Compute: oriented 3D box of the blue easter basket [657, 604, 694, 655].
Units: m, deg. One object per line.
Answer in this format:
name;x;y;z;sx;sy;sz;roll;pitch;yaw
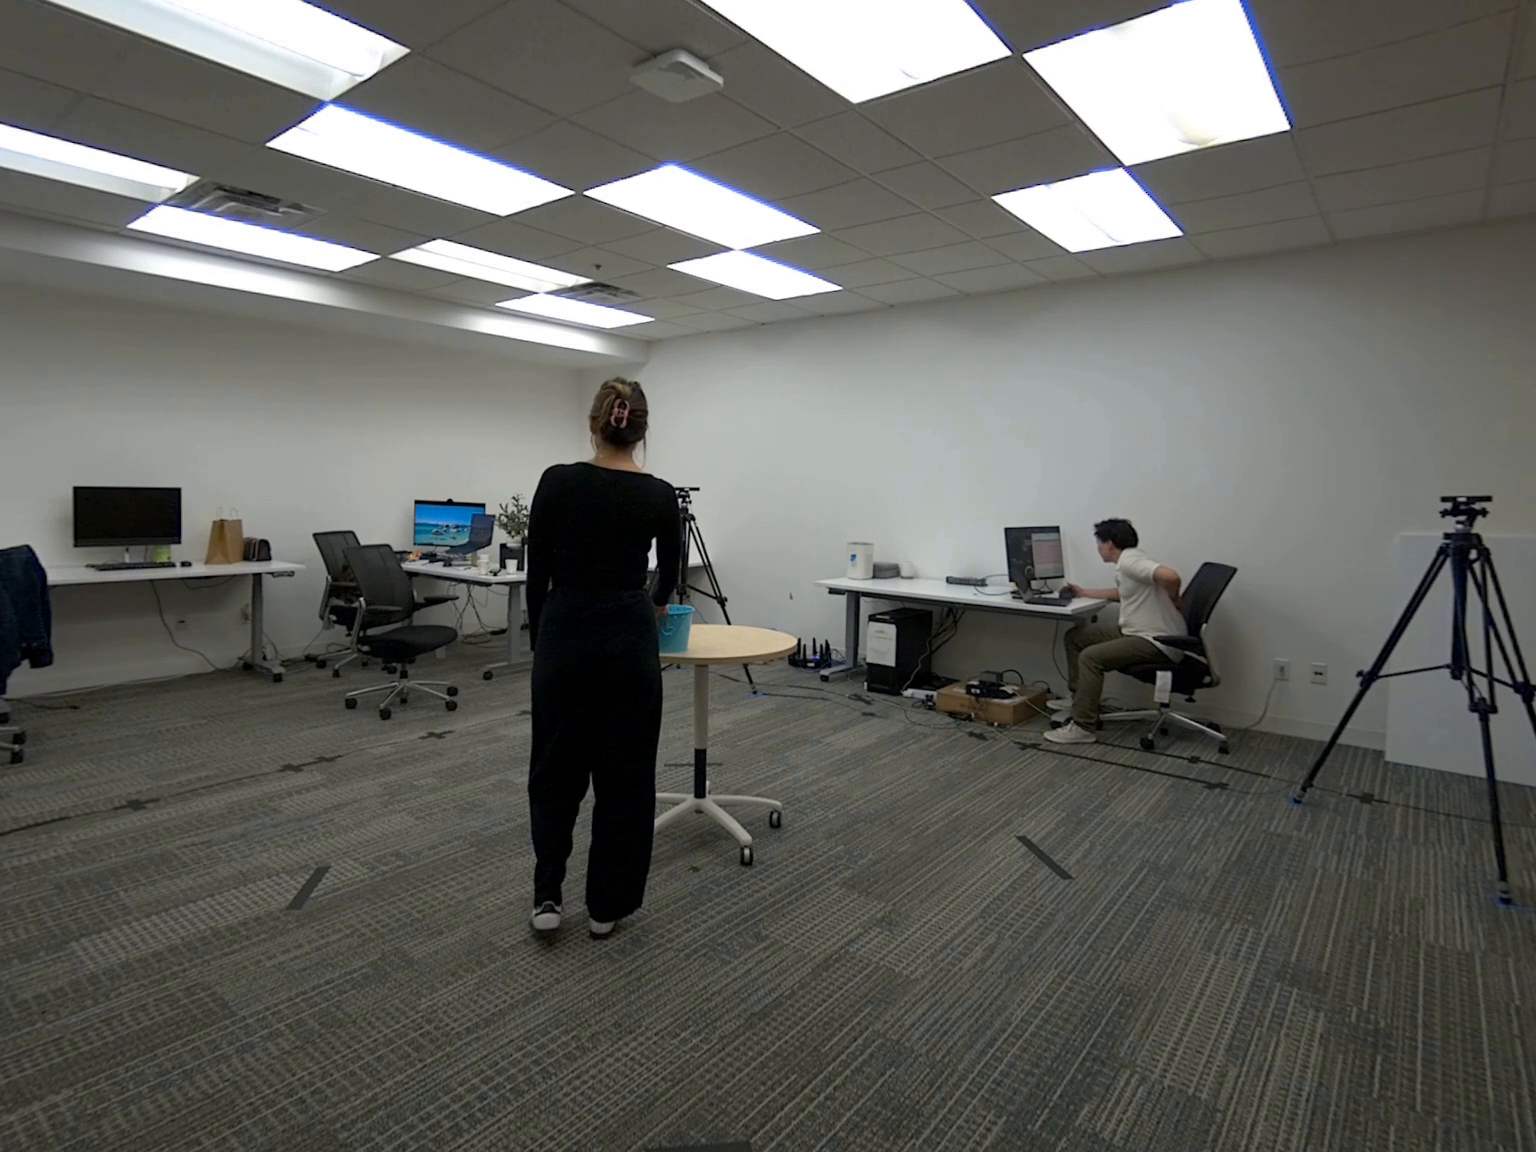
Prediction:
blue easter basket;-0.398;0.200;3.200;0.243;0.155;0.245;2;5;-2
